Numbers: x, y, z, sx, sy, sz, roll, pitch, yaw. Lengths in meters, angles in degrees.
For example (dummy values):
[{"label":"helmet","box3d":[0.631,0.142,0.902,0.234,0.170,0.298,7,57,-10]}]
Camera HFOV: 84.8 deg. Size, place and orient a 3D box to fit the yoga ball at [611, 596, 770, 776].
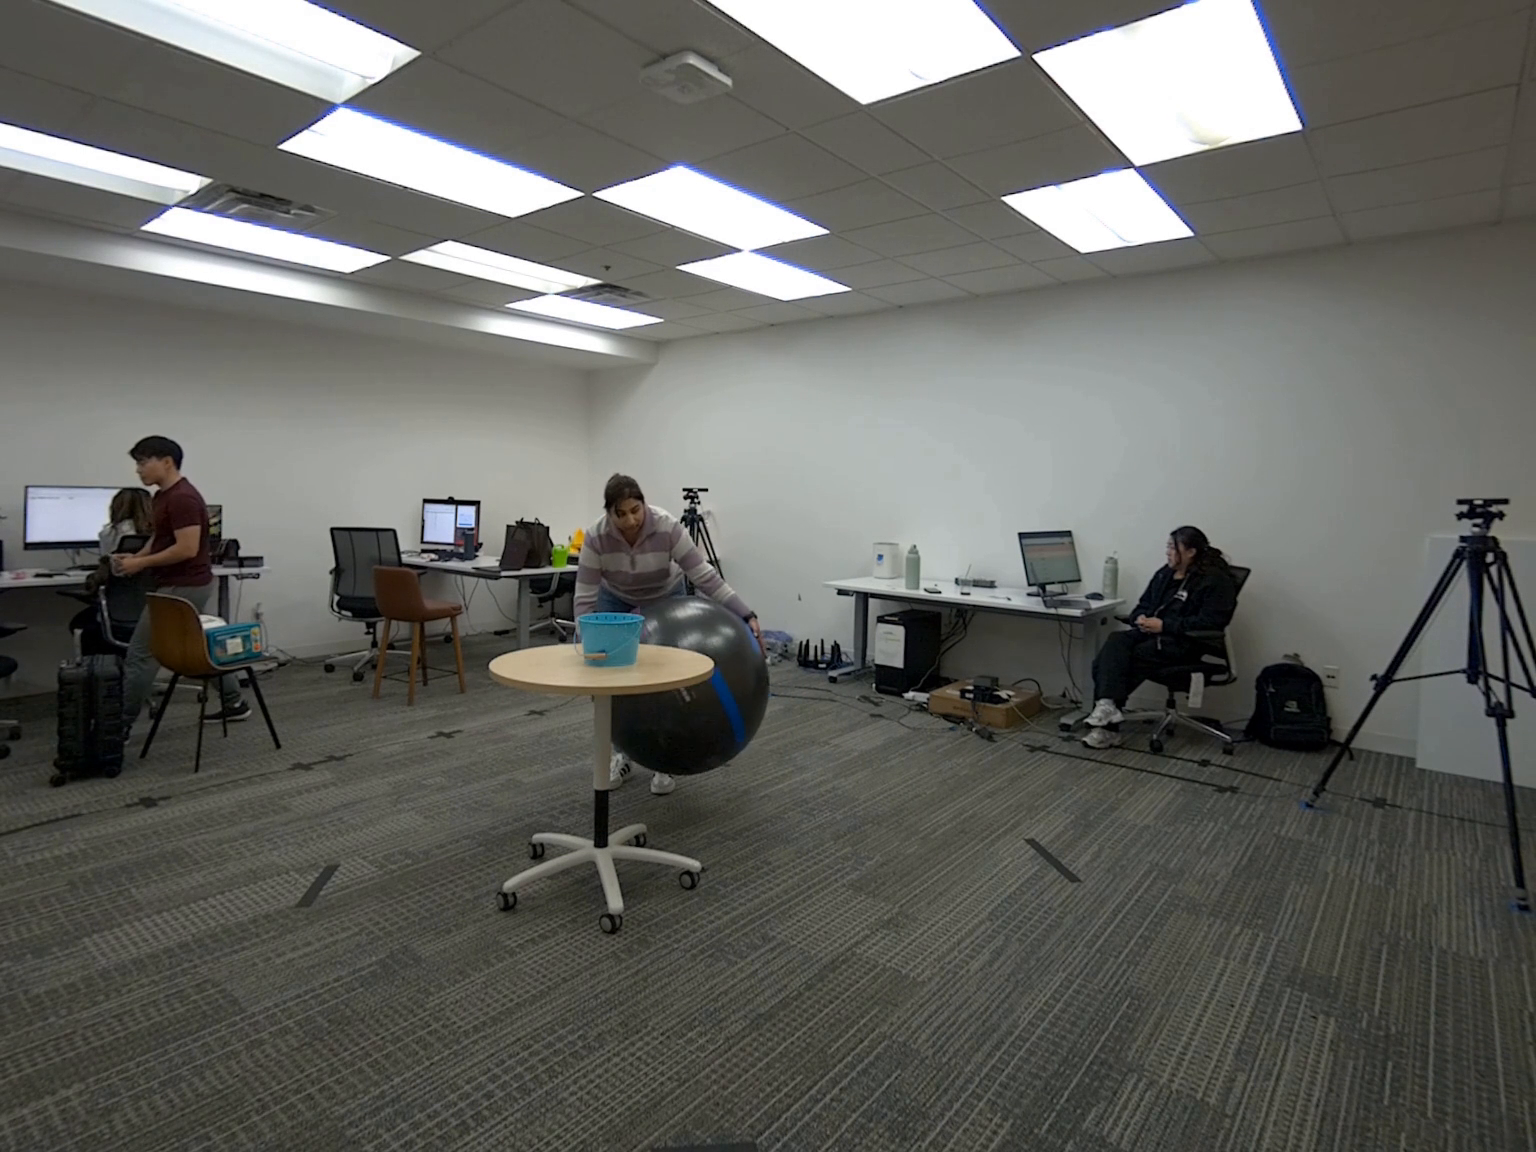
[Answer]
[{"label":"yoga ball","box3d":[-0.387,0.460,3.659,0.757,0.755,0.762,1,4,-2]}]
